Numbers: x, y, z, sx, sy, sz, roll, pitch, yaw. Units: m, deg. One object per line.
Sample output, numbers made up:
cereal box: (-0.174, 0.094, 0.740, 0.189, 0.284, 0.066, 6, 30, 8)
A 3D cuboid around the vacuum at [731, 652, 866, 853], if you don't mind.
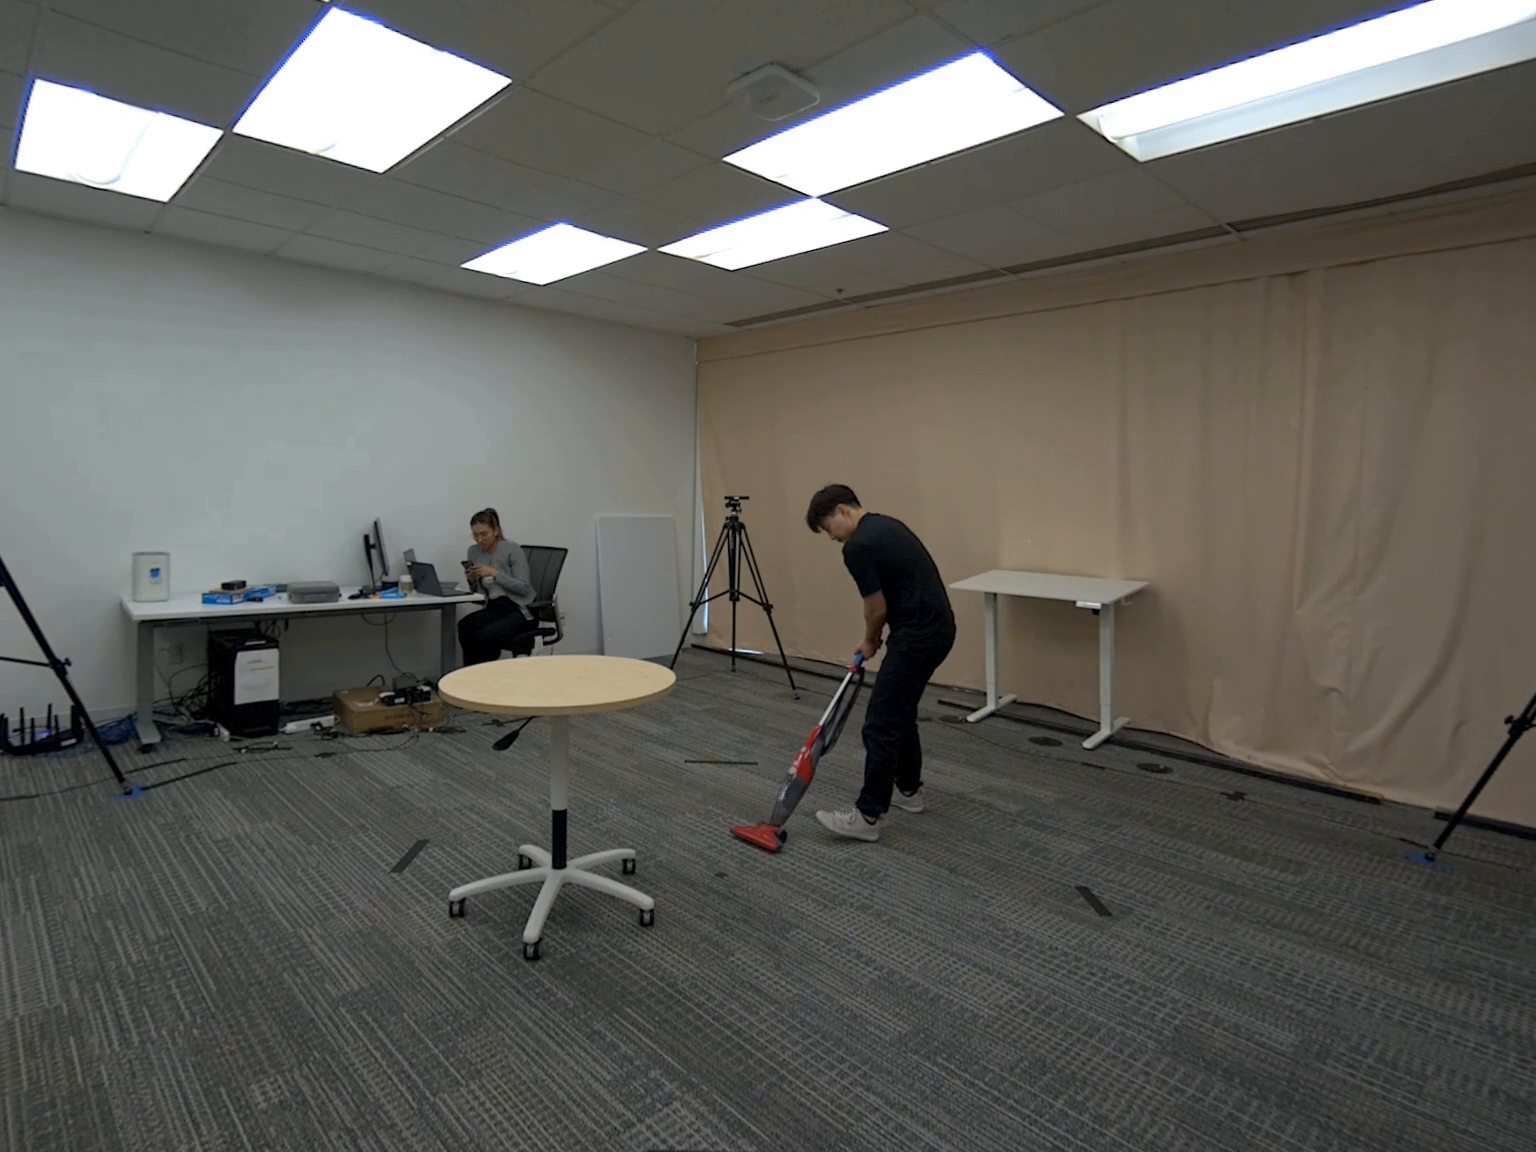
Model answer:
vacuum: (0.212, 0.695, 3.641, 0.259, 0.140, 1.052, 6, 50, 42)
